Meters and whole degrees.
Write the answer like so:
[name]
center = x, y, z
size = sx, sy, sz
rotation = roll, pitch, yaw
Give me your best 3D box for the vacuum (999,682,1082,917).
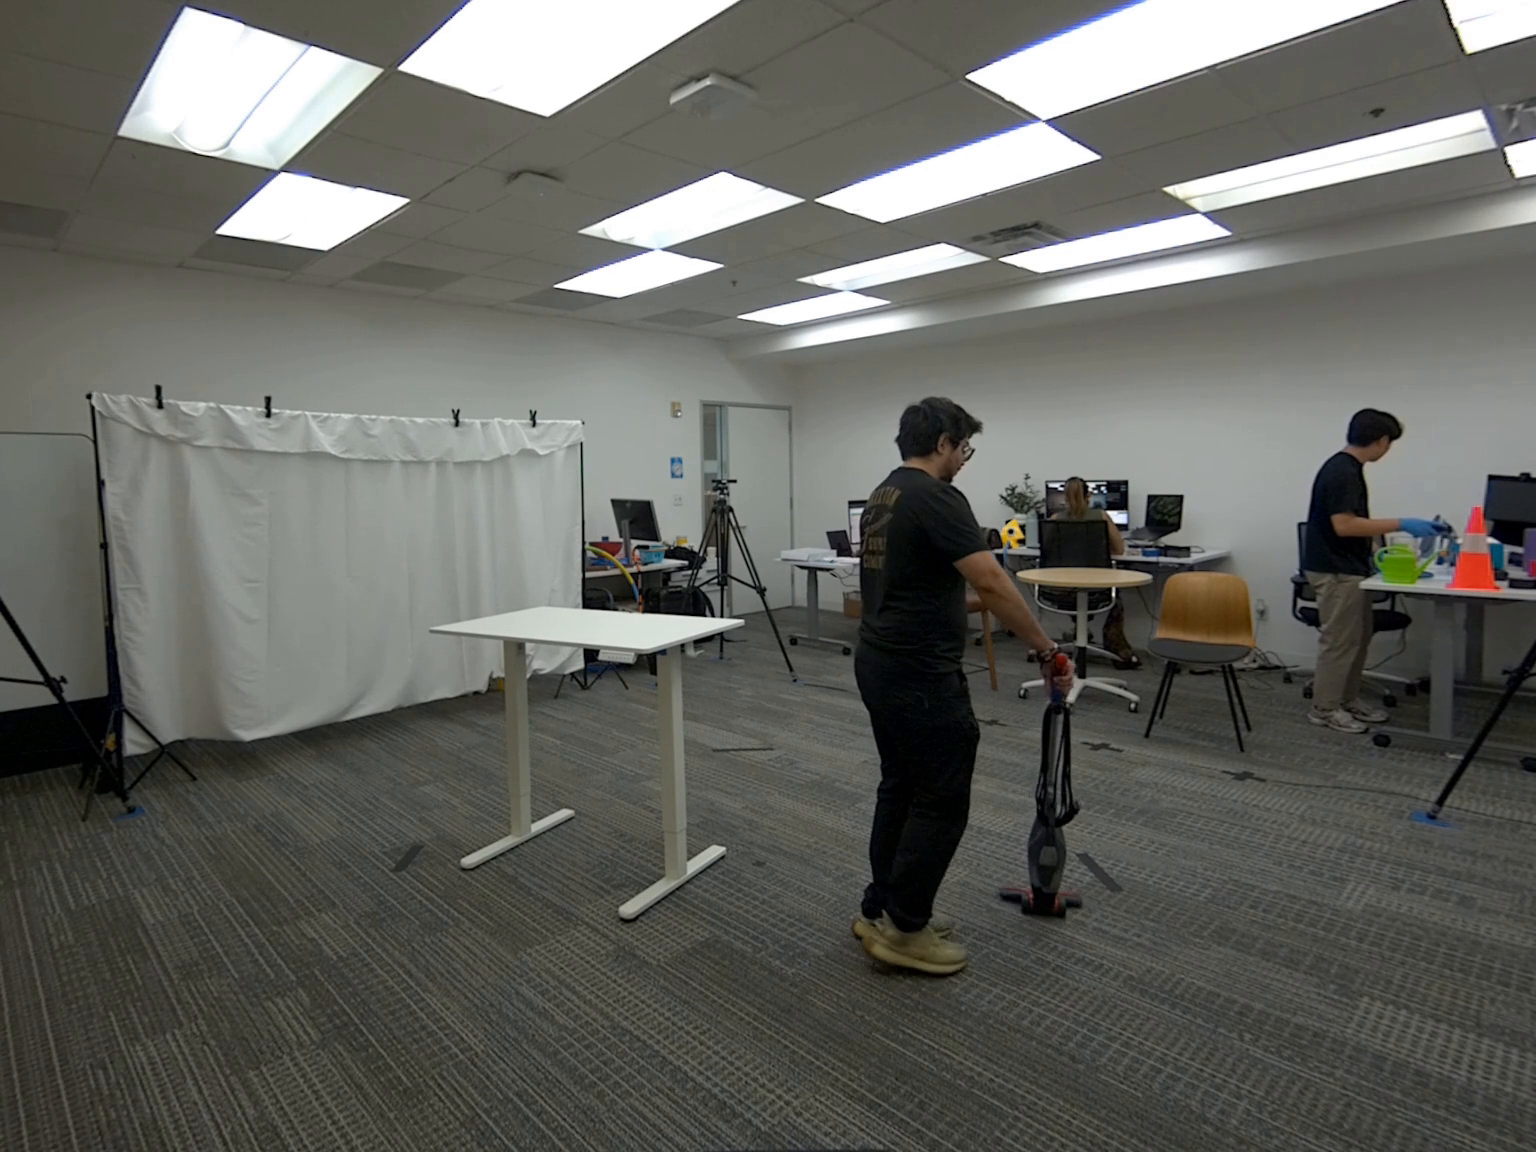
[vacuum]
center = 0.821, 0.635, 2.498
size = 0.256, 1.020, 0.146
rotation = -1, 33, 14
